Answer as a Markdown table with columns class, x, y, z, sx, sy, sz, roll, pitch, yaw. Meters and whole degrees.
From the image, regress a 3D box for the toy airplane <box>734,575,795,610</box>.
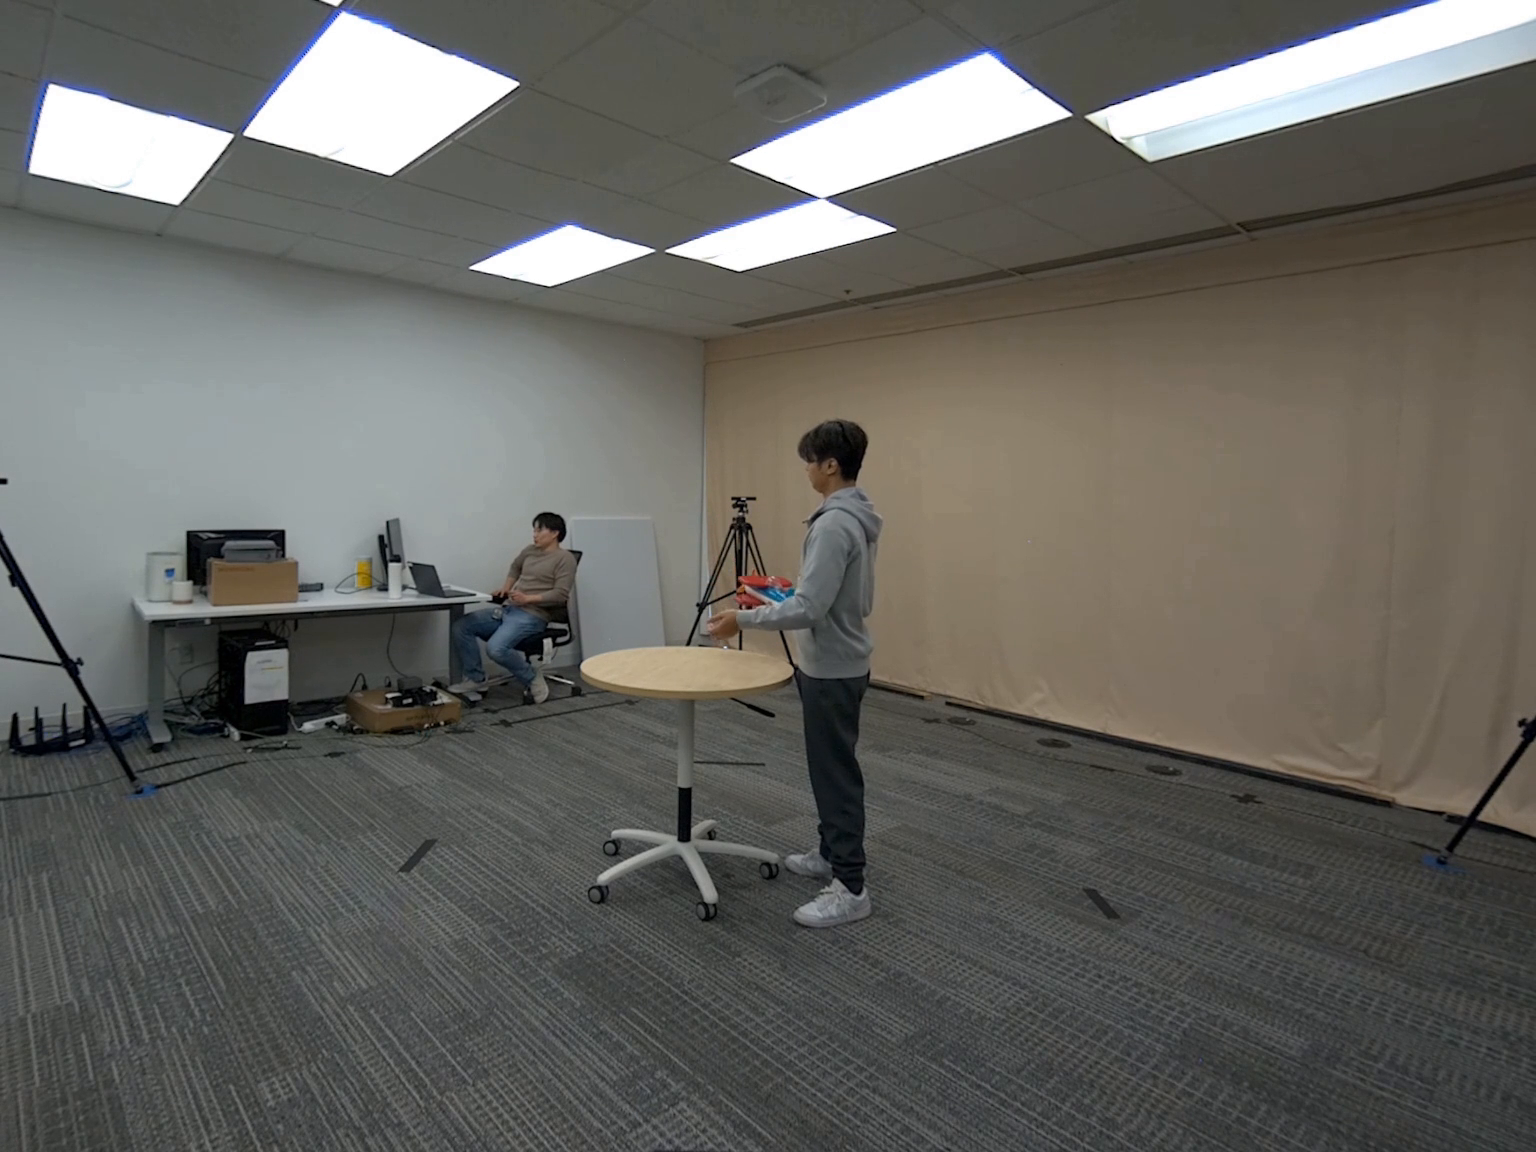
| class | x | y | z | sx | sy | sz | roll | pitch | yaw |
| --- | --- | --- | --- | --- | --- | --- | --- | --- | --- |
| toy airplane | -0.003 | 0.066 | 3.252 | 0.263 | 0.156 | 0.247 | 5 | 4 | 19 |
